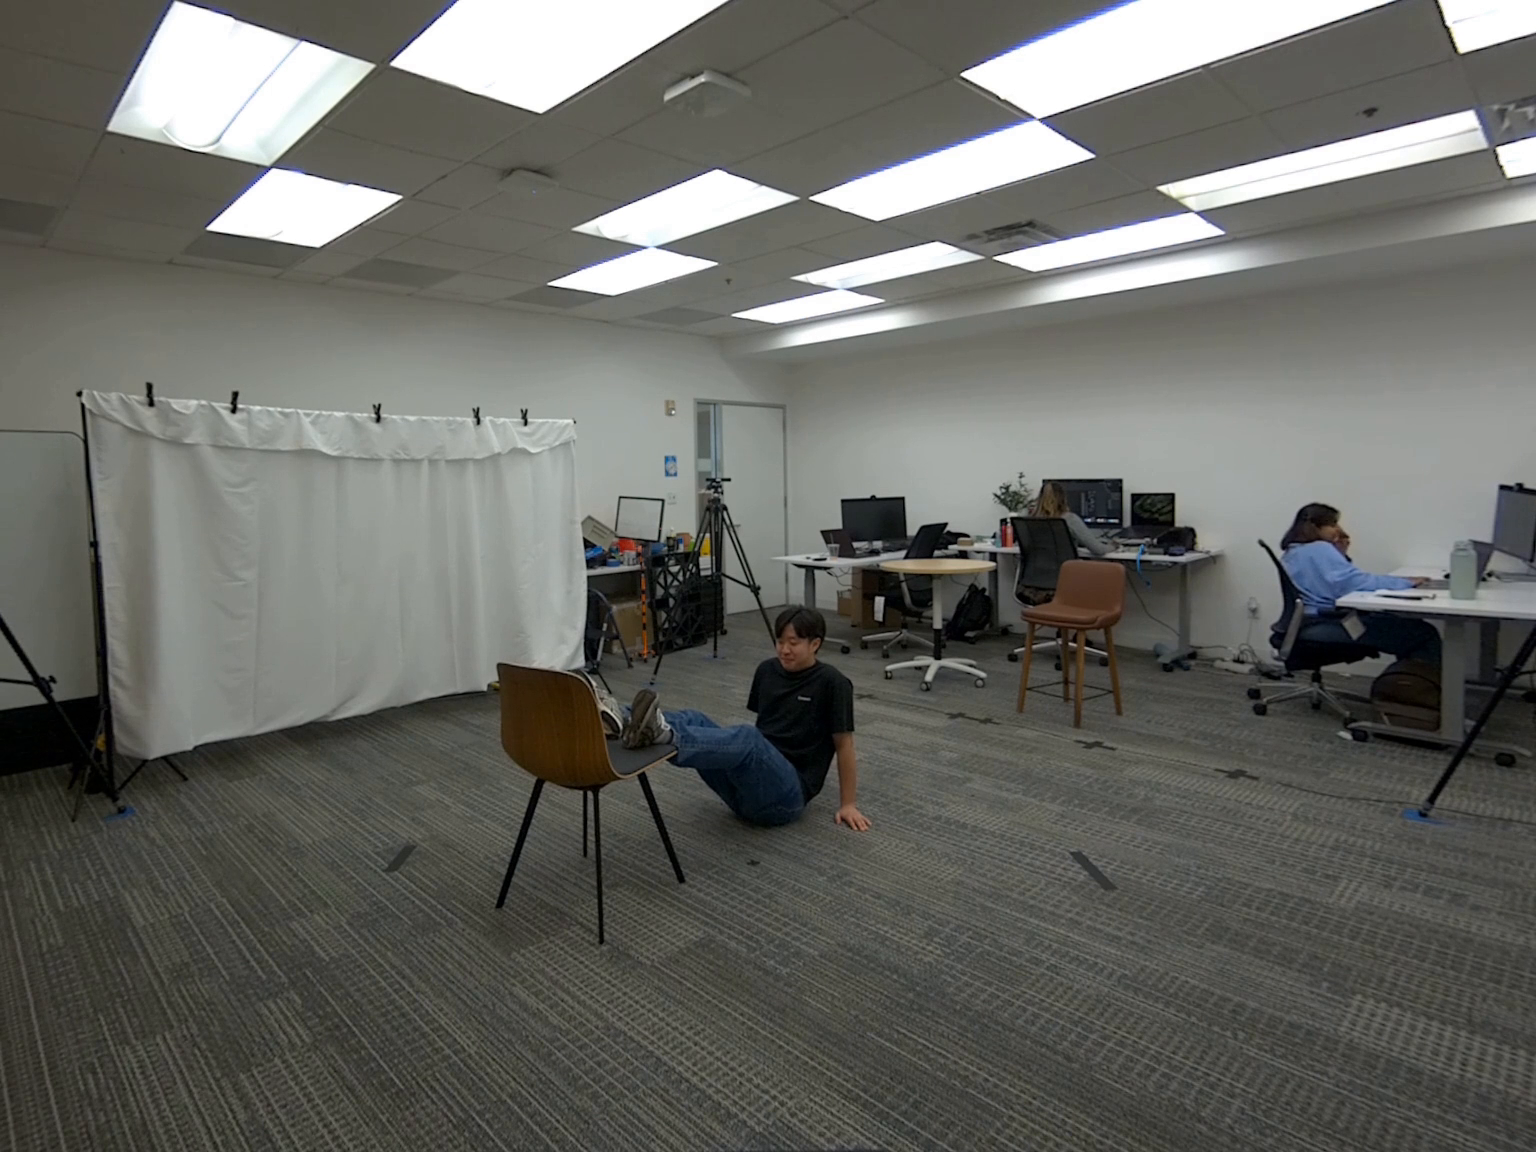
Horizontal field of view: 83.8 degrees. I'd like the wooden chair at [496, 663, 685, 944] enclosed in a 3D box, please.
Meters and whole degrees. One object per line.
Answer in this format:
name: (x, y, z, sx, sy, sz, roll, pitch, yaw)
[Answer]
wooden chair: (-0.591, 0.653, 2.856, 0.491, 0.871, 0.513, 2, 9, 30)
